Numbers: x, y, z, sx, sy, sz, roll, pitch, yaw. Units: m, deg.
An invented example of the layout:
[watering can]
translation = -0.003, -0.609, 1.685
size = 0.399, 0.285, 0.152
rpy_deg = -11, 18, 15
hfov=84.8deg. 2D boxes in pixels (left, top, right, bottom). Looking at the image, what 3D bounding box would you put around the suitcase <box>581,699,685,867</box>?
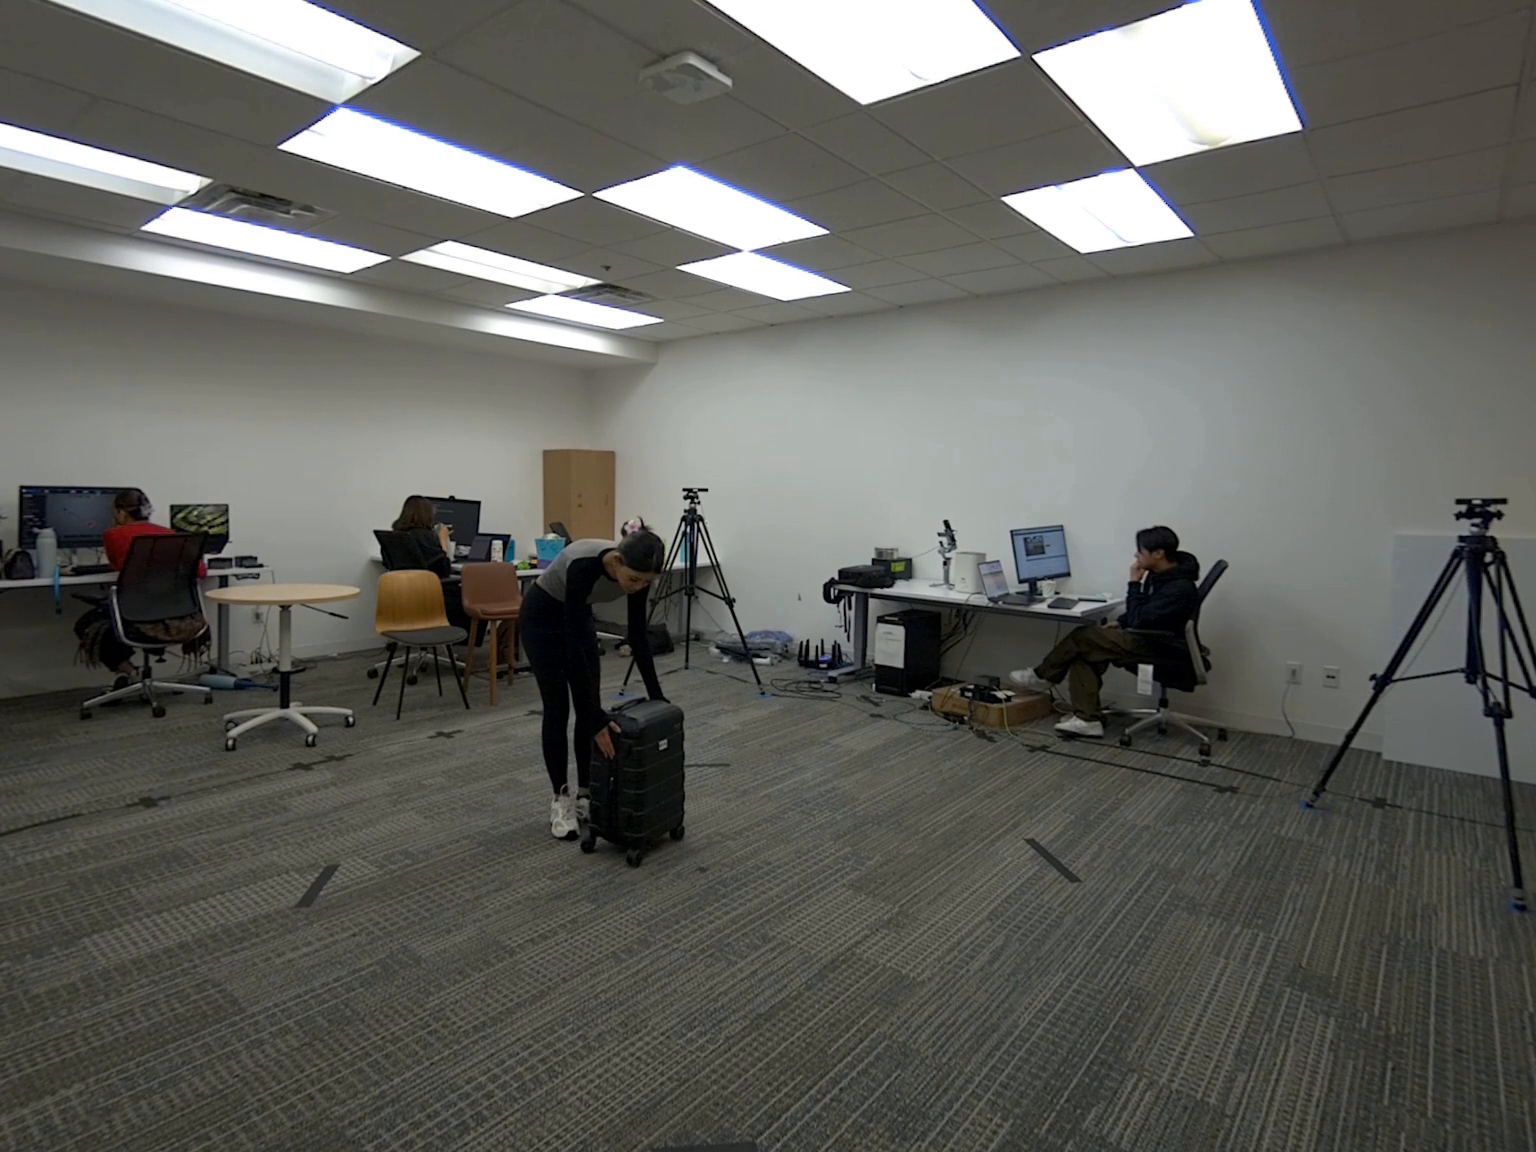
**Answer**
[suitcase]
translation = -0.512, 0.771, 3.318
size = 0.255, 0.548, 0.365
rpy_deg = 3, 2, 29
